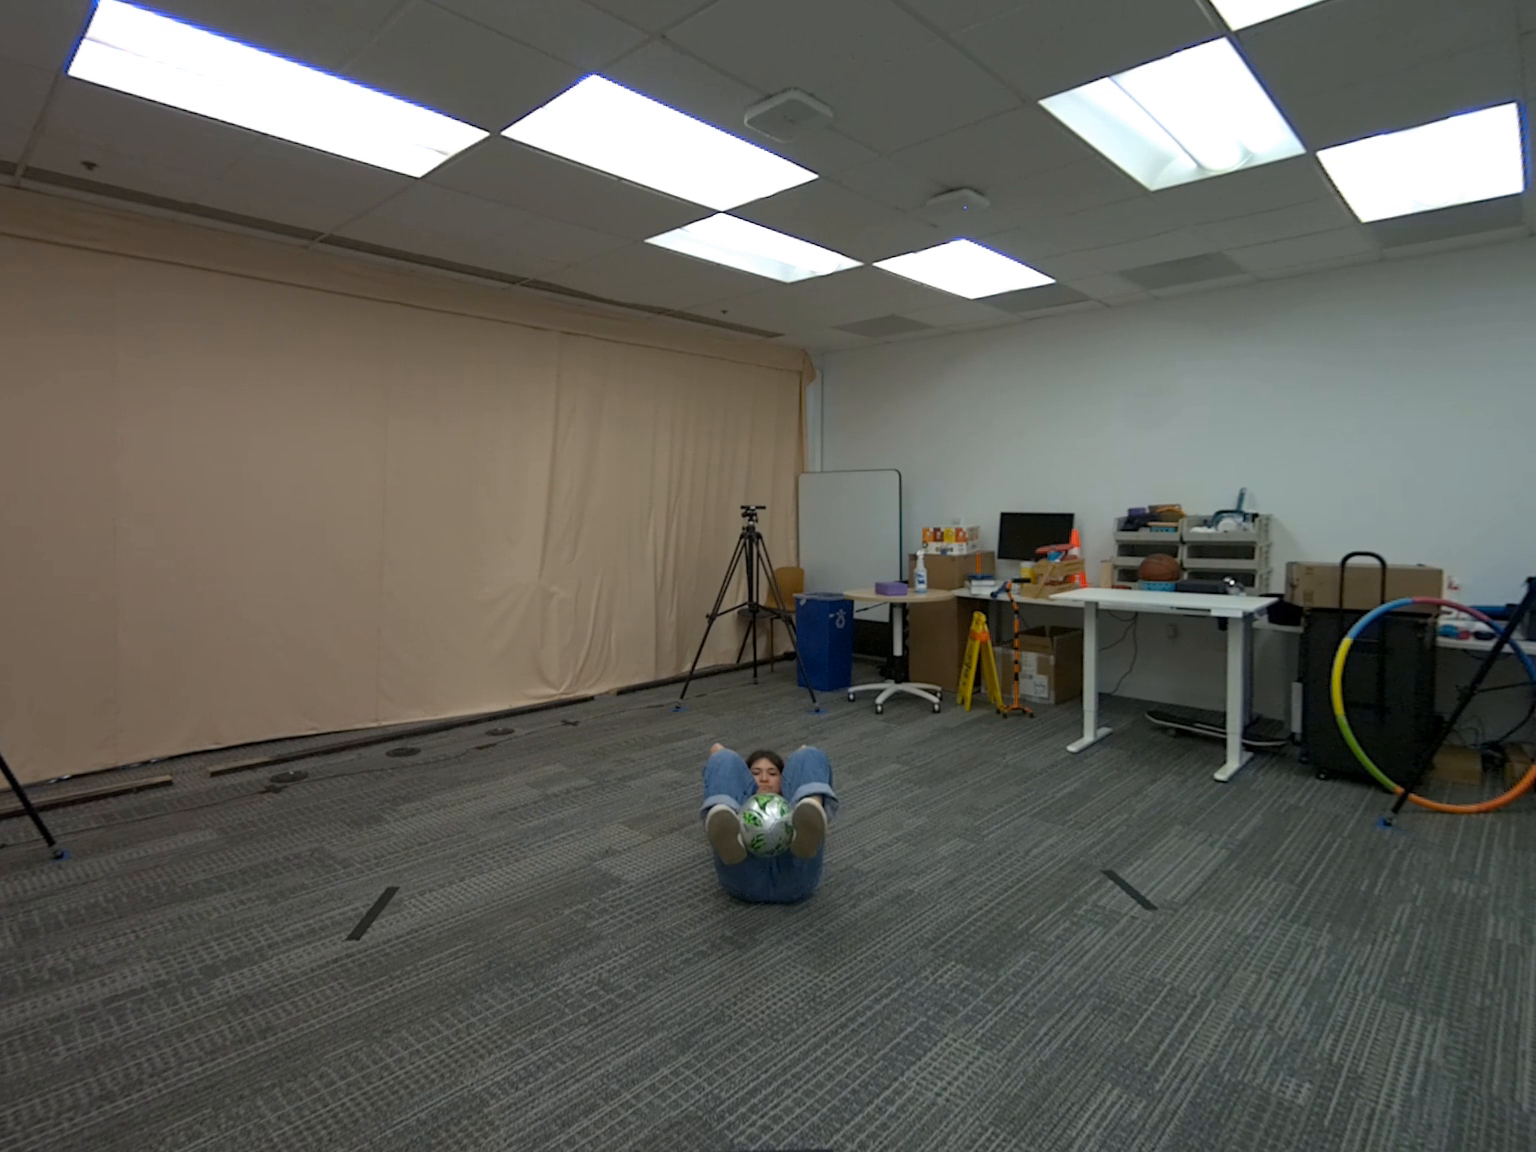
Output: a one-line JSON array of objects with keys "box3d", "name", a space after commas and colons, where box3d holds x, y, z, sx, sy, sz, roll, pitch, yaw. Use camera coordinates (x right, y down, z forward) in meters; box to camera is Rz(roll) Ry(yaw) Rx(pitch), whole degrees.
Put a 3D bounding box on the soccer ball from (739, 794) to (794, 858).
[{"box3d": [0.014, 0.764, 2.560, 0.187, 0.187, 0.188, 3, 4, -2], "name": "soccer ball"}]
